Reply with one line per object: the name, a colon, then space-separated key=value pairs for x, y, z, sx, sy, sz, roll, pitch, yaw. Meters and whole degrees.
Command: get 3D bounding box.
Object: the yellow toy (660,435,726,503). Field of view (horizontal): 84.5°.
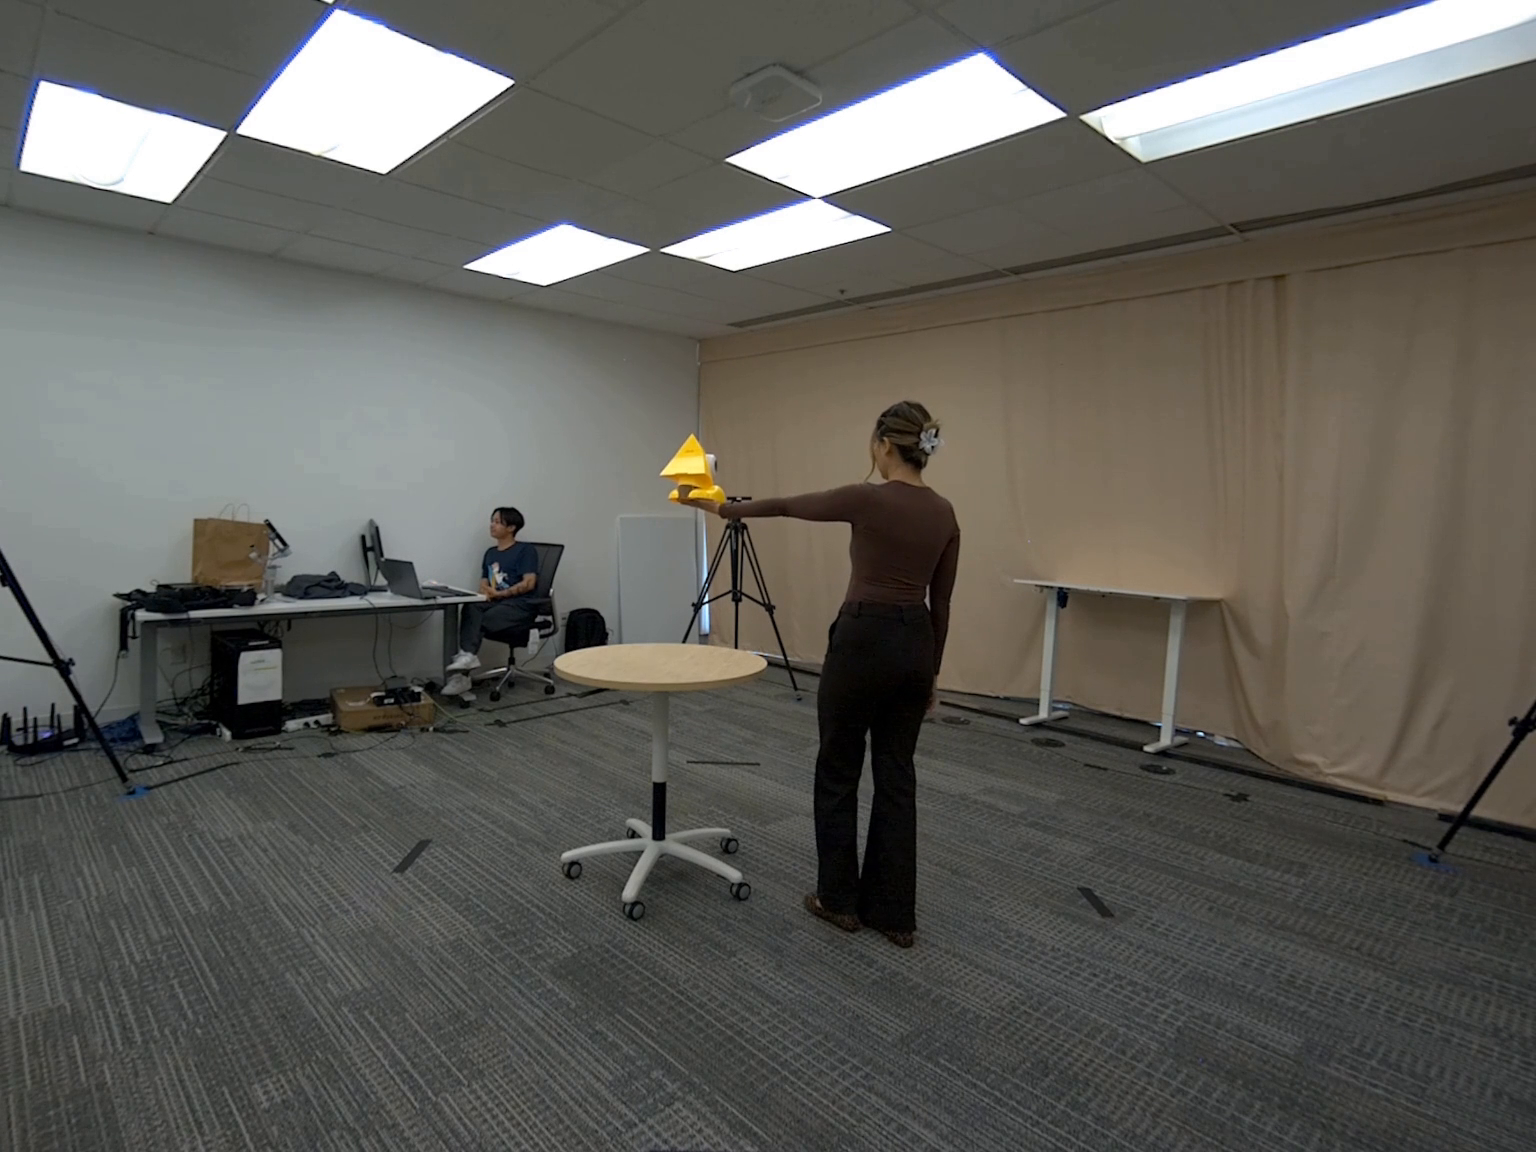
yellow toy: x=-0.253 y=-0.379 z=3.006 sx=0.209 sy=0.232 sz=0.188 roll=2 pitch=-8 yaw=36
